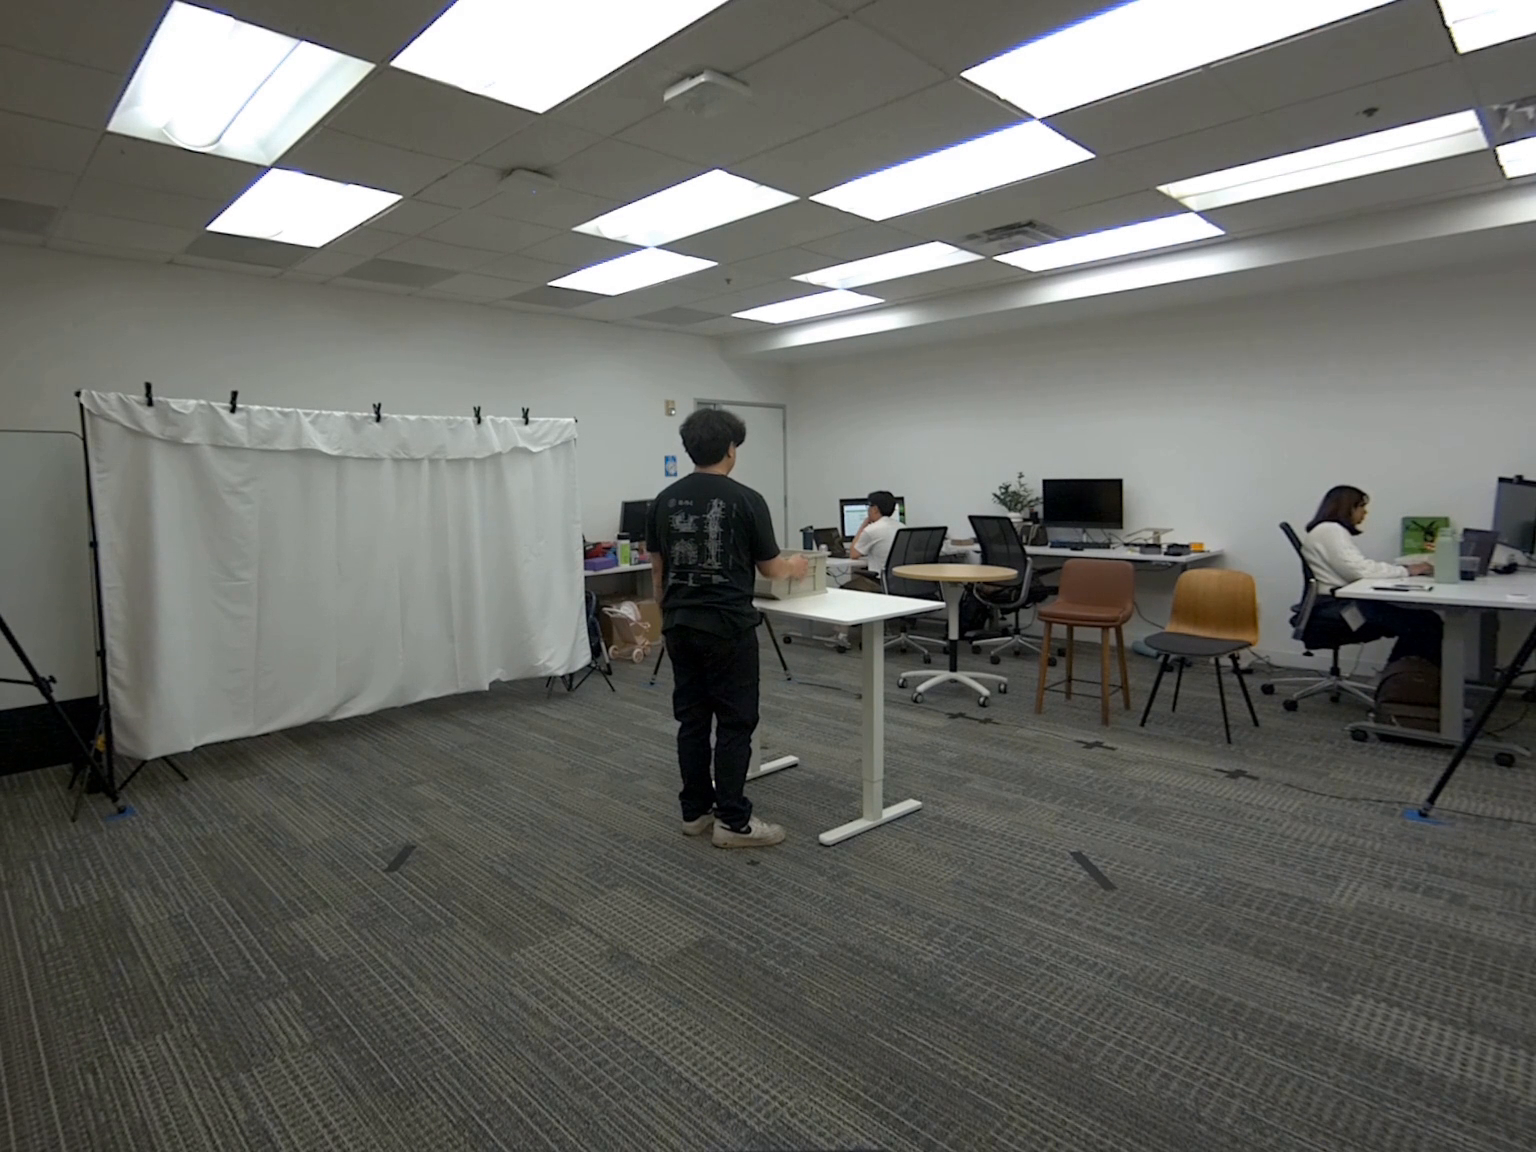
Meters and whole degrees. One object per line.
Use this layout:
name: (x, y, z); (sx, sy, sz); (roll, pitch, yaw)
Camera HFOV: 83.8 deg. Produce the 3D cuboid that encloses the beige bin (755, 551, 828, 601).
beige bin: (0.001, -0.010, 3.826); (0.367, 0.188, 0.435); (-7, 8, -44)
